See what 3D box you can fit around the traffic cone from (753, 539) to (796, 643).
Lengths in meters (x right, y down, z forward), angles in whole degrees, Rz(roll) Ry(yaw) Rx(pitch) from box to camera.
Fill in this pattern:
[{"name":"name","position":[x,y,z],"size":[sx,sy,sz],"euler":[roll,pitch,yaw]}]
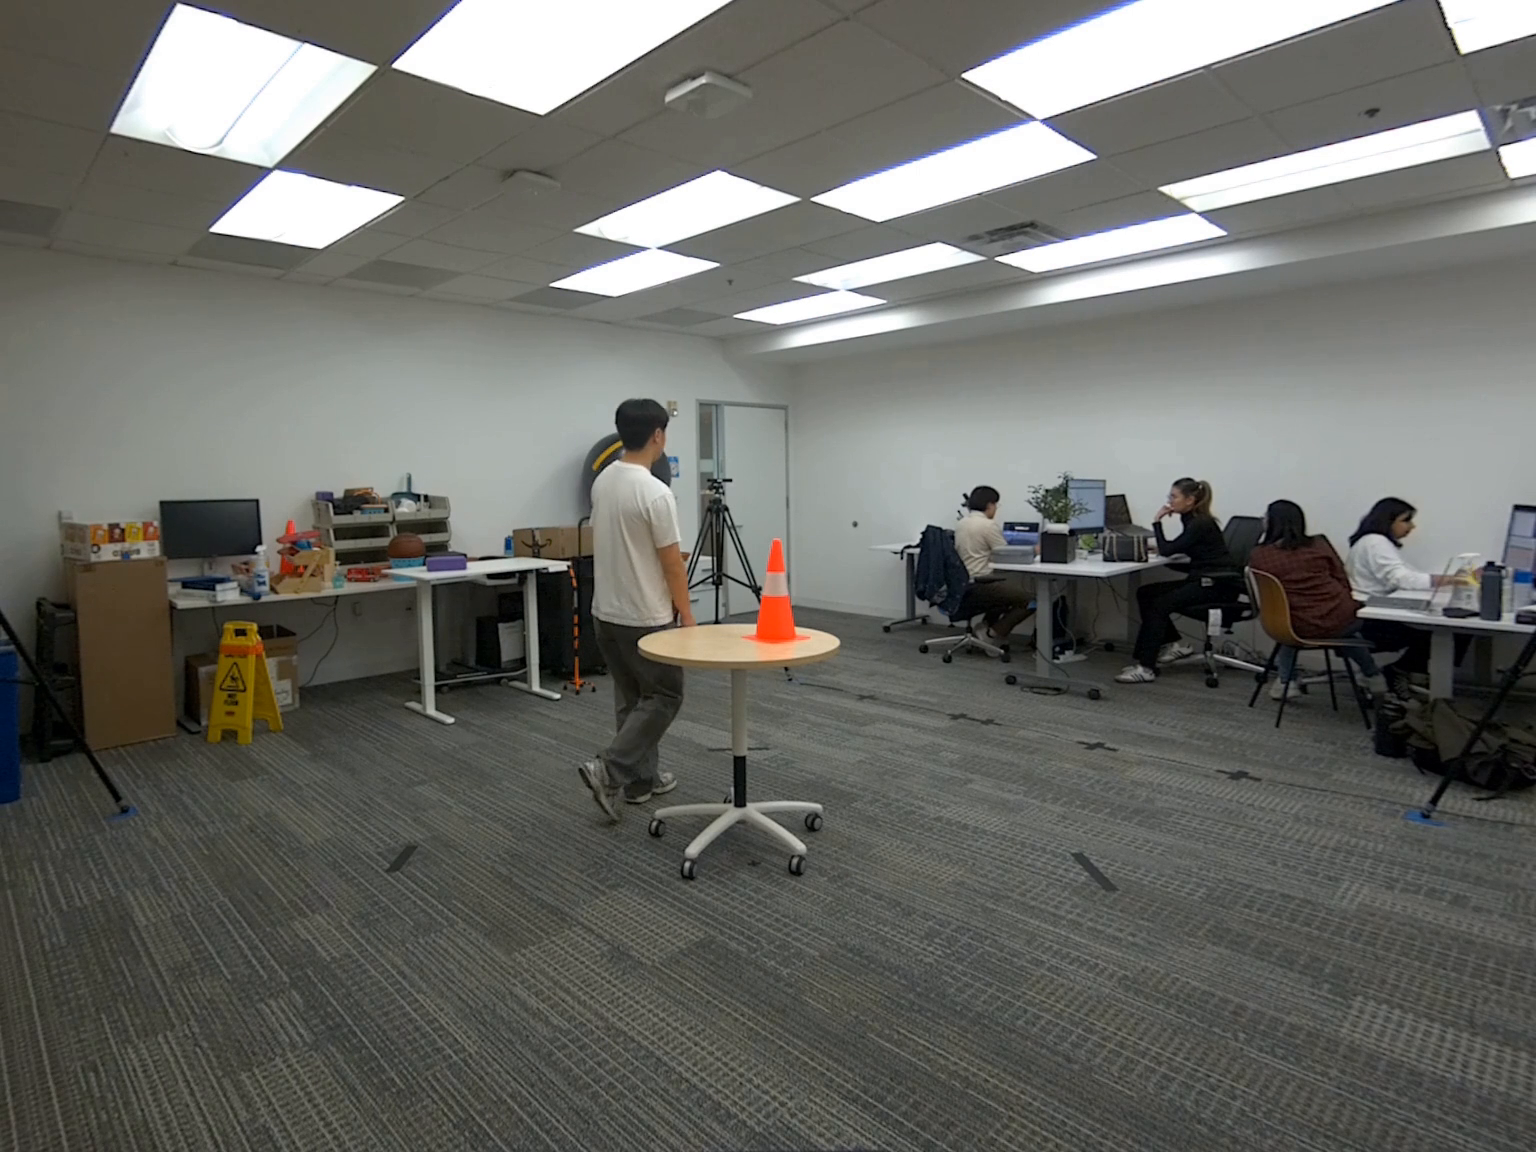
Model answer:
[{"name":"traffic cone","position":[0.028,0.054,3.305],"size":[0.209,0.383,0.199],"euler":[3,4,40]}]
